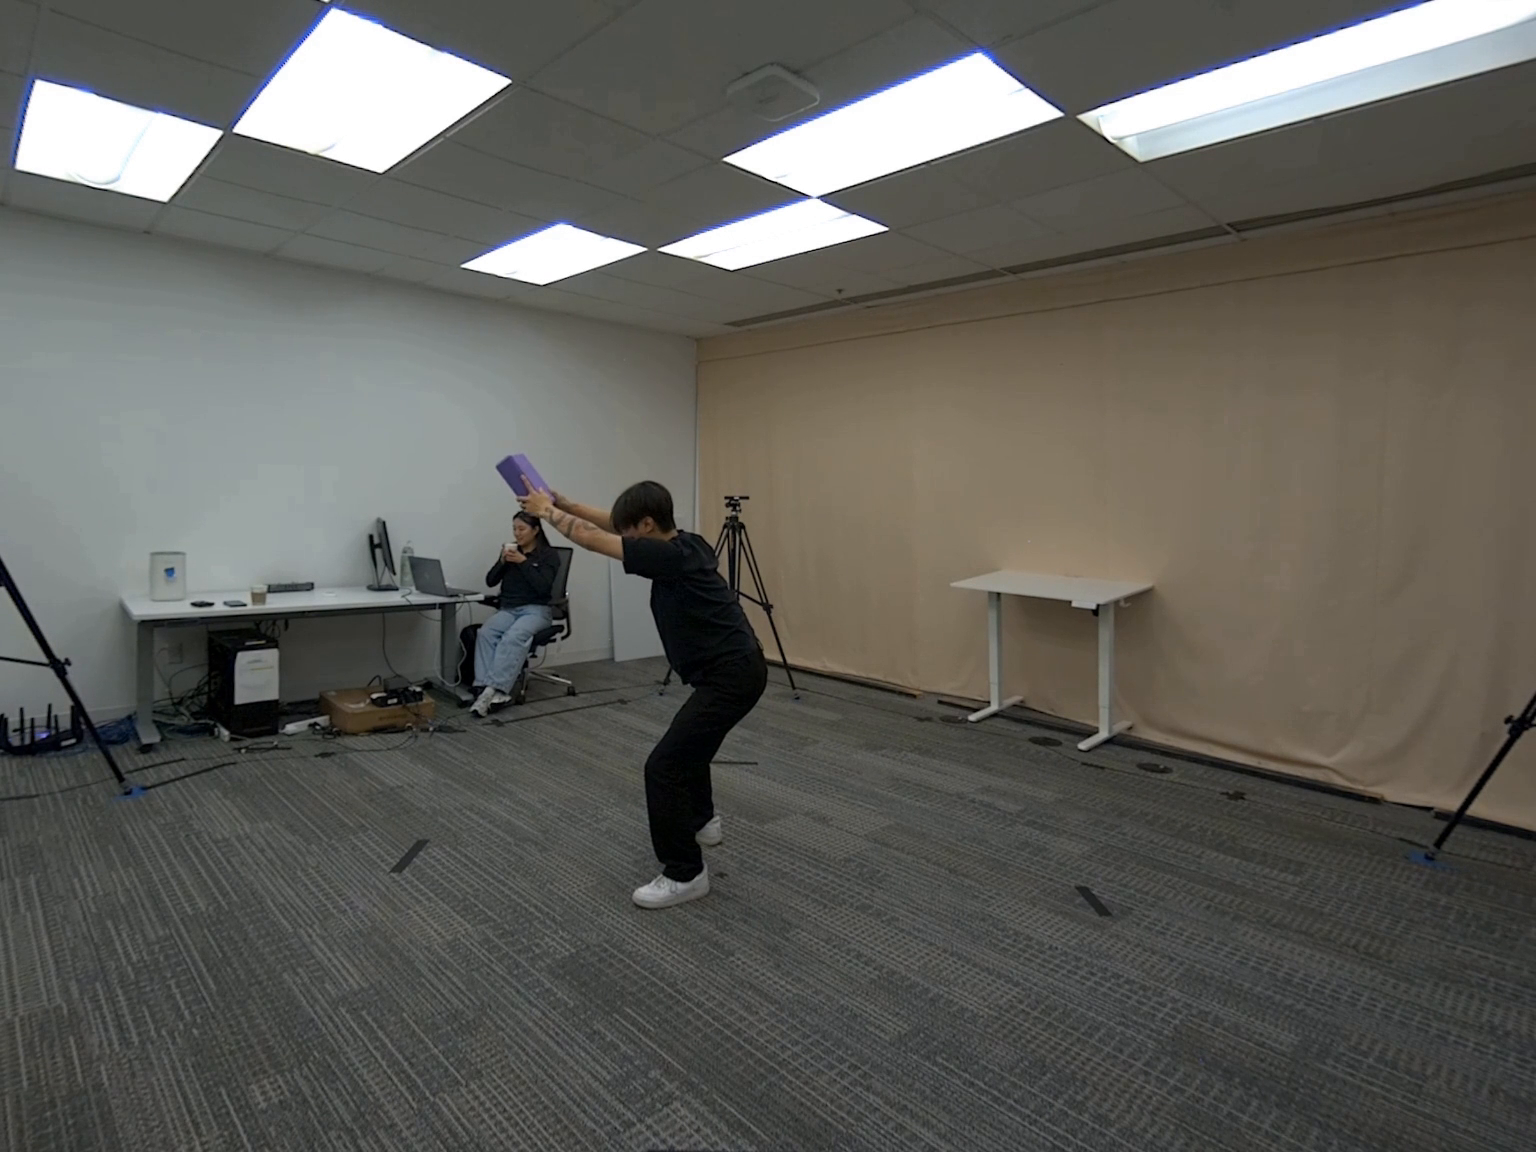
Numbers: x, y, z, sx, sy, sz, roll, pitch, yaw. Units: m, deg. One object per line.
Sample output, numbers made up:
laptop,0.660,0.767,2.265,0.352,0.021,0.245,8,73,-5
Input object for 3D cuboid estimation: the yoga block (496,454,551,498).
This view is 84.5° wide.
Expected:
yoga block,-0.917,-0.344,3.155,0.077,0.229,0.149,-32,3,12
